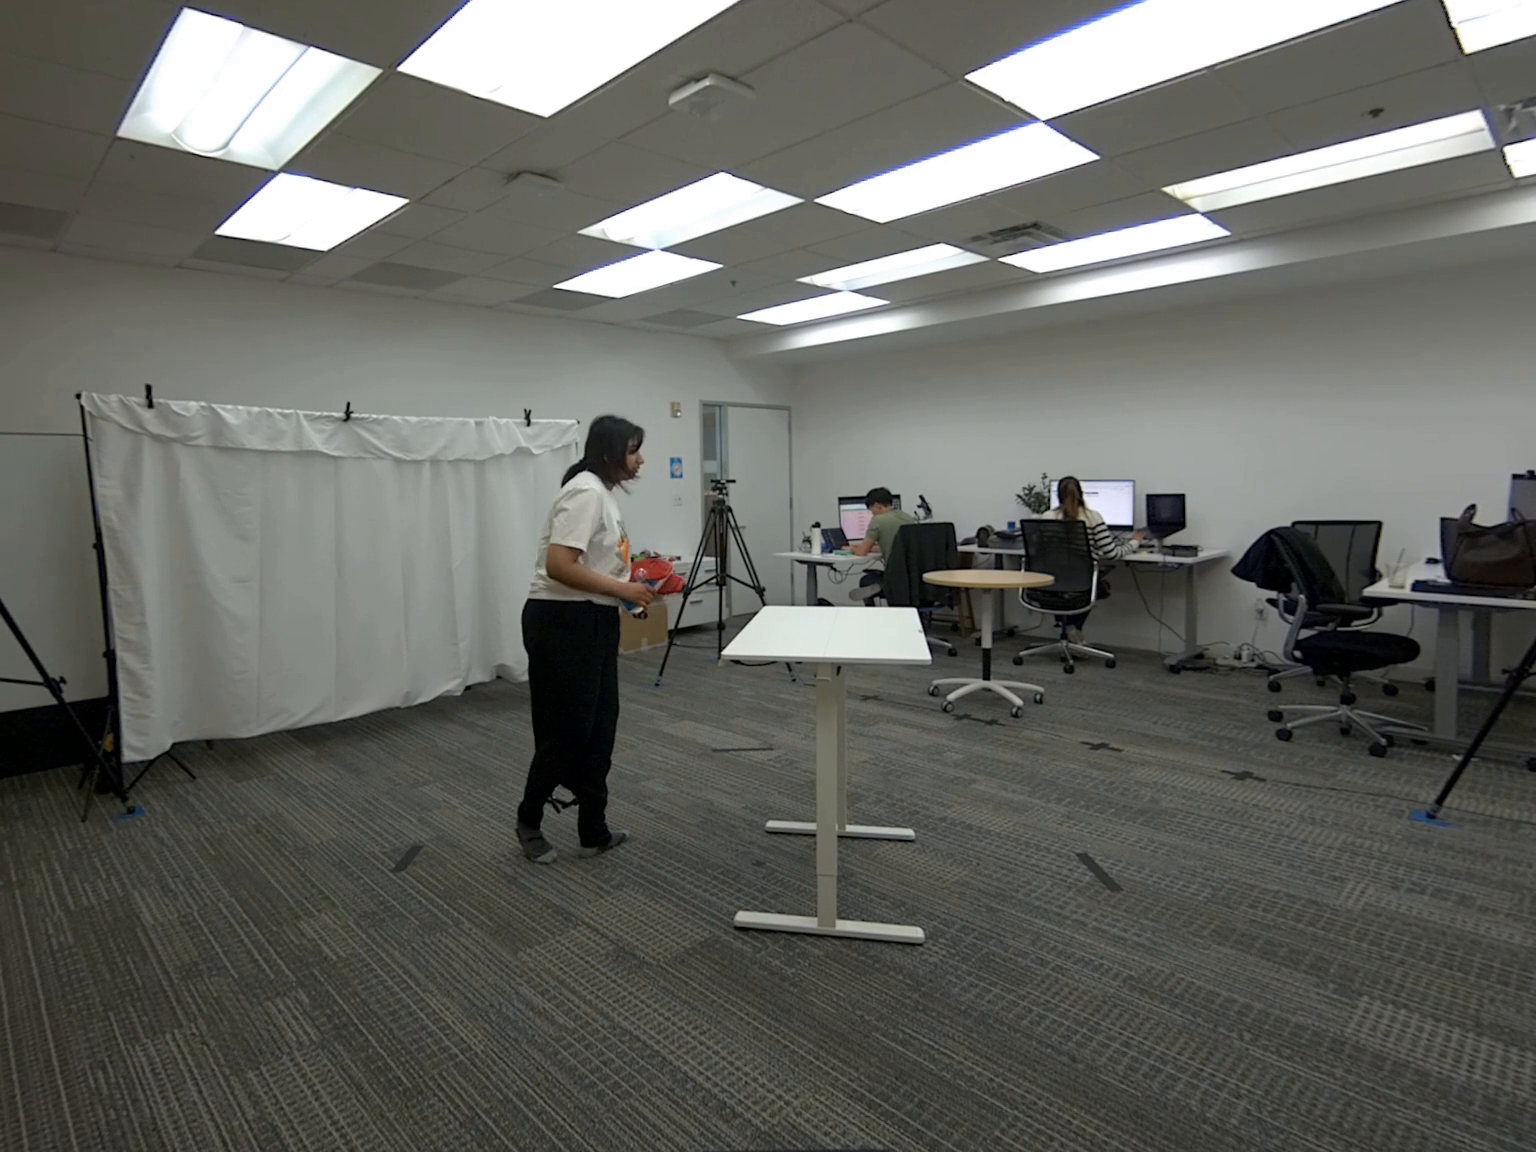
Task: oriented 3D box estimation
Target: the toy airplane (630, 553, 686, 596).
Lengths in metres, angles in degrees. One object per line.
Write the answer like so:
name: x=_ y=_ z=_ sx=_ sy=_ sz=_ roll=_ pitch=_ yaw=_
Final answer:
toy airplane: x=-0.426 y=0.040 z=3.161 sx=0.255 sy=0.152 sz=0.262 roll=-12 pitch=28 yaw=24
